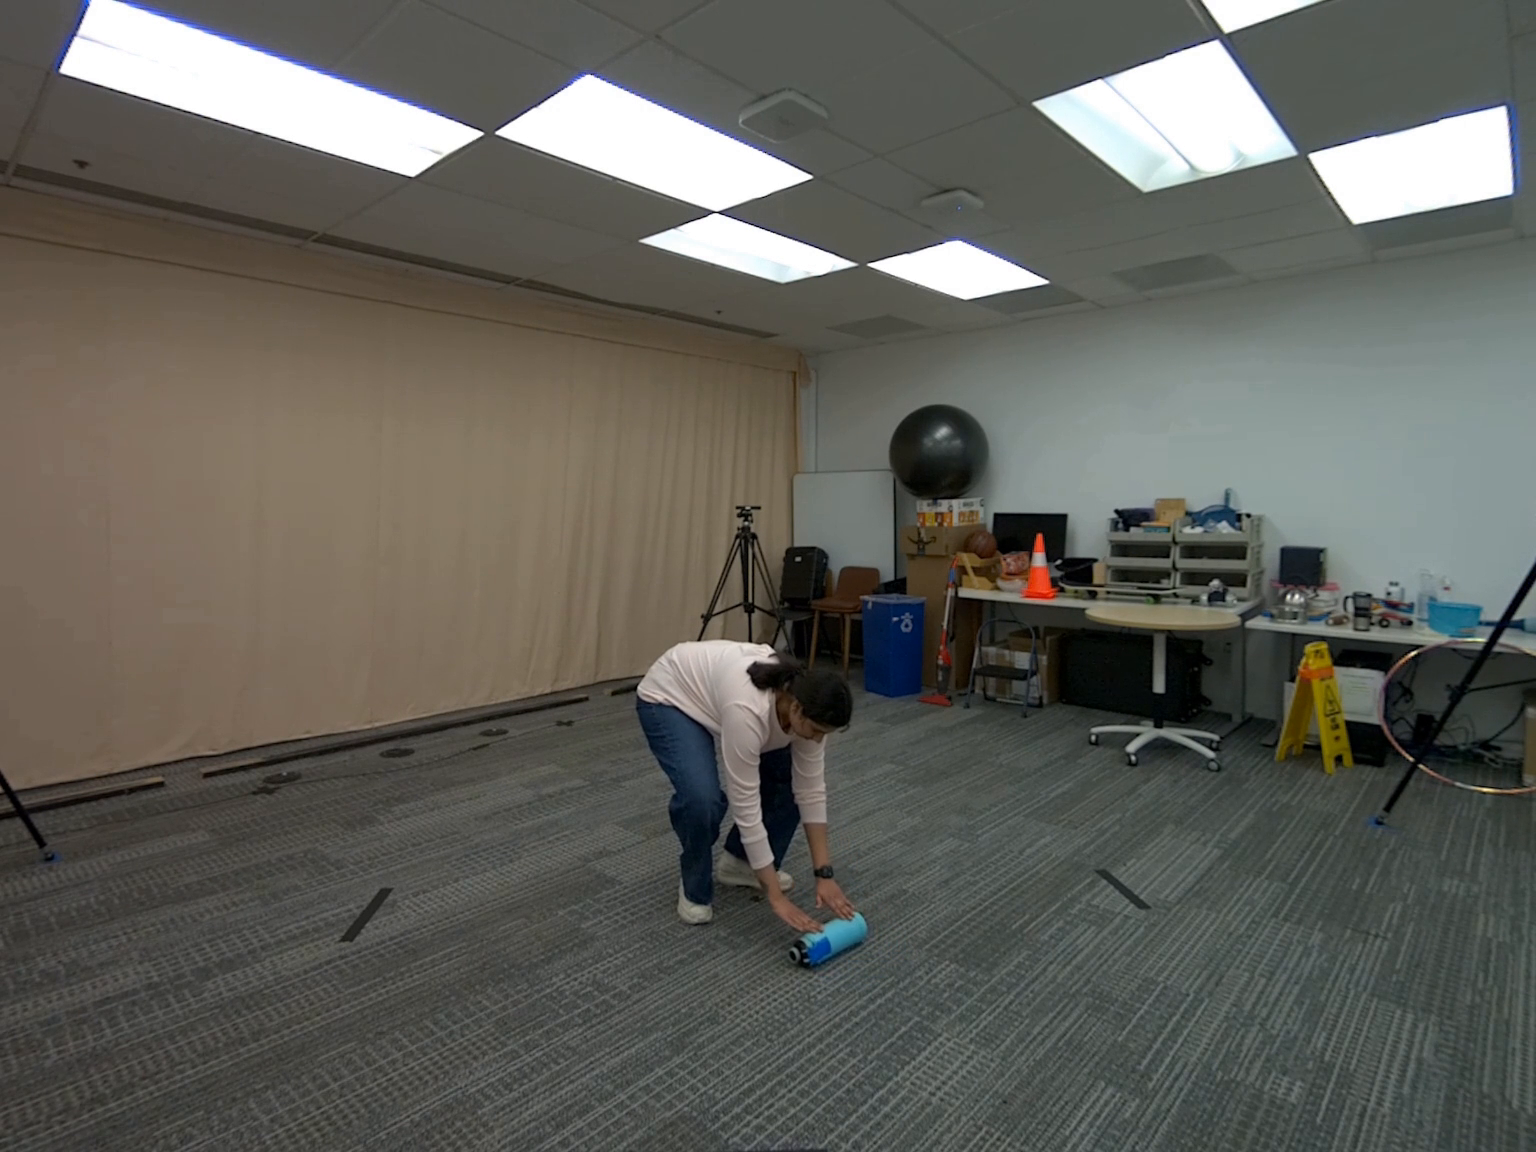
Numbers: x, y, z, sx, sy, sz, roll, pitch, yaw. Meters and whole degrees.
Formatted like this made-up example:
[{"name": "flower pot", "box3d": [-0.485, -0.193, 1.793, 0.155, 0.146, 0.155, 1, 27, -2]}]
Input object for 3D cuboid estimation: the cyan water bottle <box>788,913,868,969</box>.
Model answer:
[{"name": "cyan water bottle", "box3d": [0.192, 1.127, 2.610, 0.275, 0.092, 0.095, -4, 6, -43]}]
